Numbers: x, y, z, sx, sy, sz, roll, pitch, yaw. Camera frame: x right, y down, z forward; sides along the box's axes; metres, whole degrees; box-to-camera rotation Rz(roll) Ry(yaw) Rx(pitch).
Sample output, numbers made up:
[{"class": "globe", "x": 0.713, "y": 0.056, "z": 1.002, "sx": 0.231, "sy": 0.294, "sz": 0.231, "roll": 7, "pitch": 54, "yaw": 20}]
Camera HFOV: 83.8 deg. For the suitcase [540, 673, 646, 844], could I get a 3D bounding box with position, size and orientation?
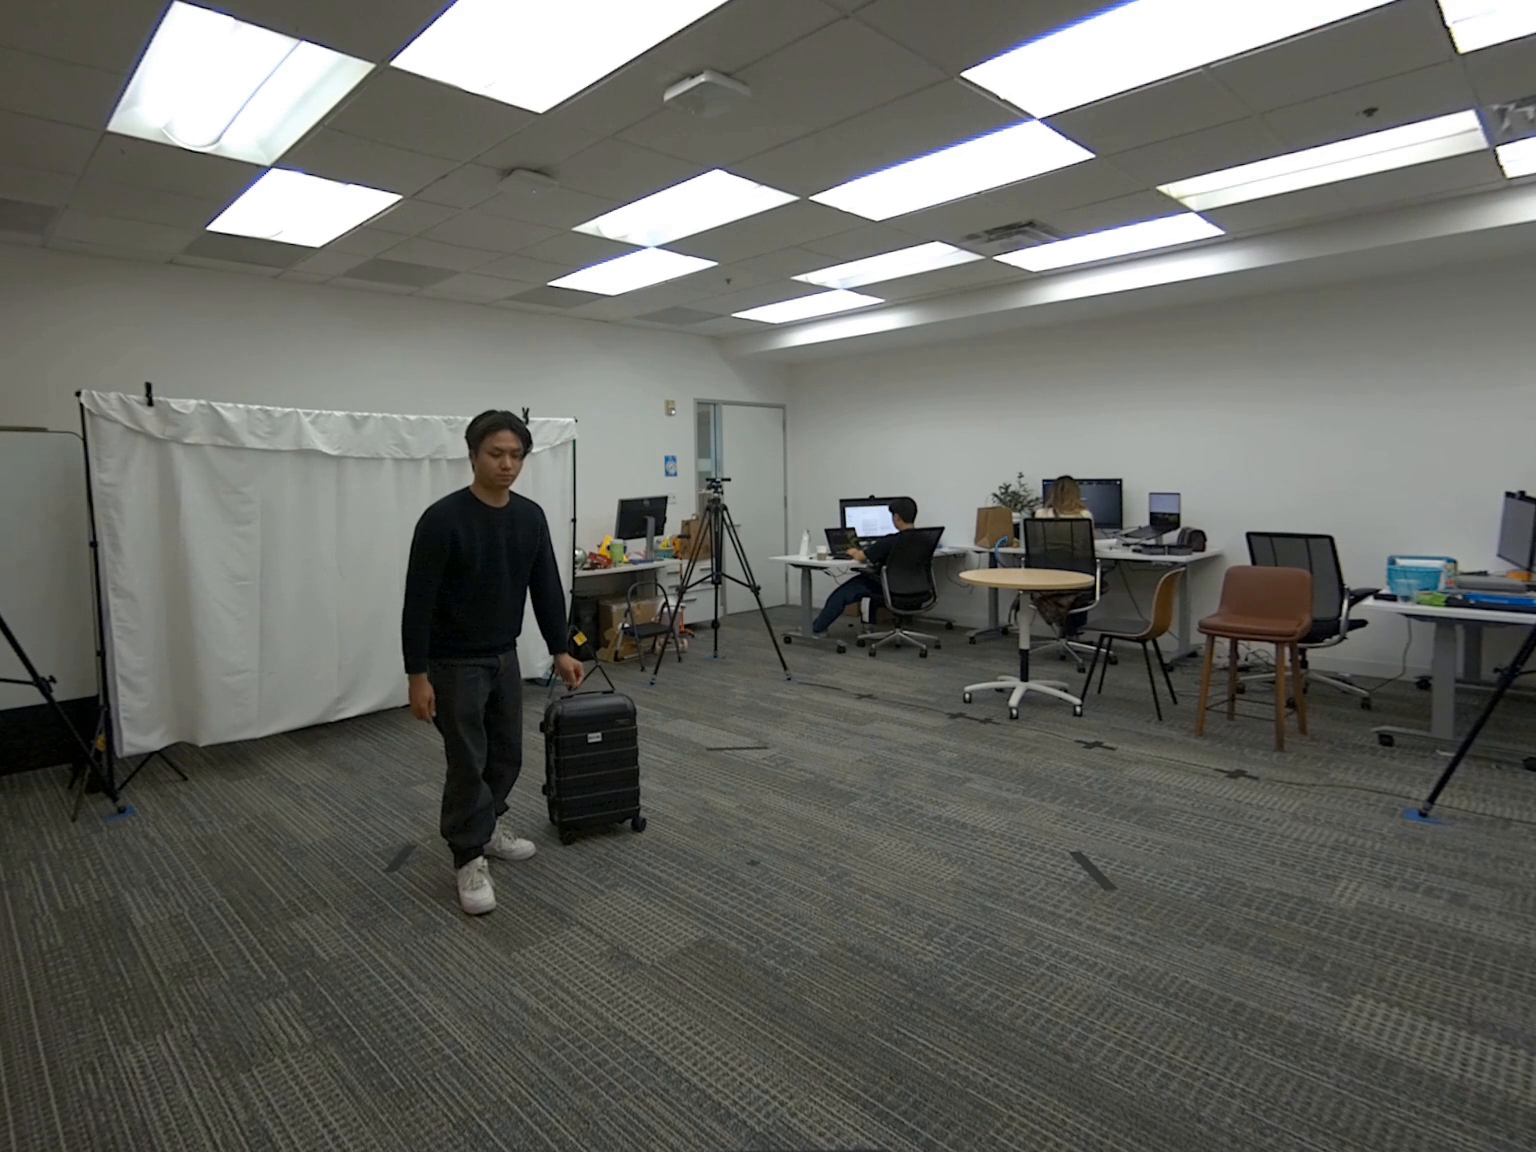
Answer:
[{"class": "suitcase", "x": -0.702, "y": 0.741, "z": 3.427, "sx": 0.368, "sy": 0.547, "sz": 0.254, "roll": -4, "pitch": 6, "yaw": -22}]
